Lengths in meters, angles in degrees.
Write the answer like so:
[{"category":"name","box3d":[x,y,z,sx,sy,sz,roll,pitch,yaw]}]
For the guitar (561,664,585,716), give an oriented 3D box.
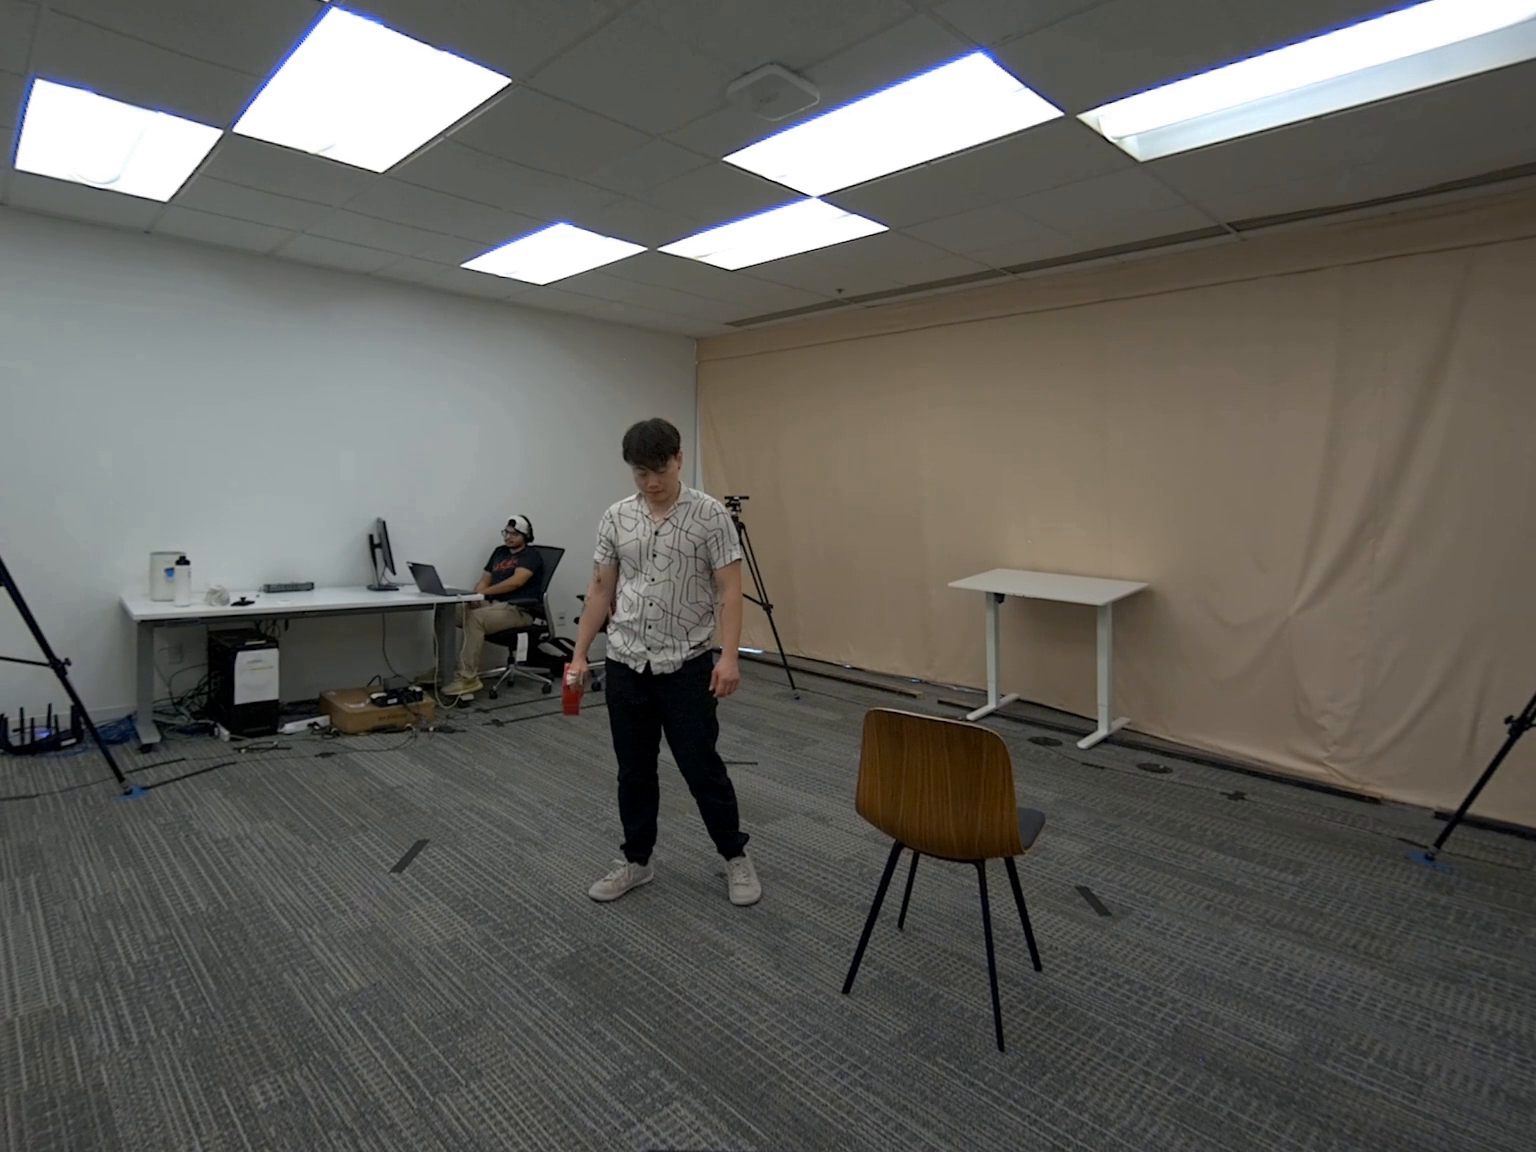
[{"category":"guitar","box3d":[-0.681,0.361,2.996,0.070,0.196,0.494,9,-24,-9]}]
